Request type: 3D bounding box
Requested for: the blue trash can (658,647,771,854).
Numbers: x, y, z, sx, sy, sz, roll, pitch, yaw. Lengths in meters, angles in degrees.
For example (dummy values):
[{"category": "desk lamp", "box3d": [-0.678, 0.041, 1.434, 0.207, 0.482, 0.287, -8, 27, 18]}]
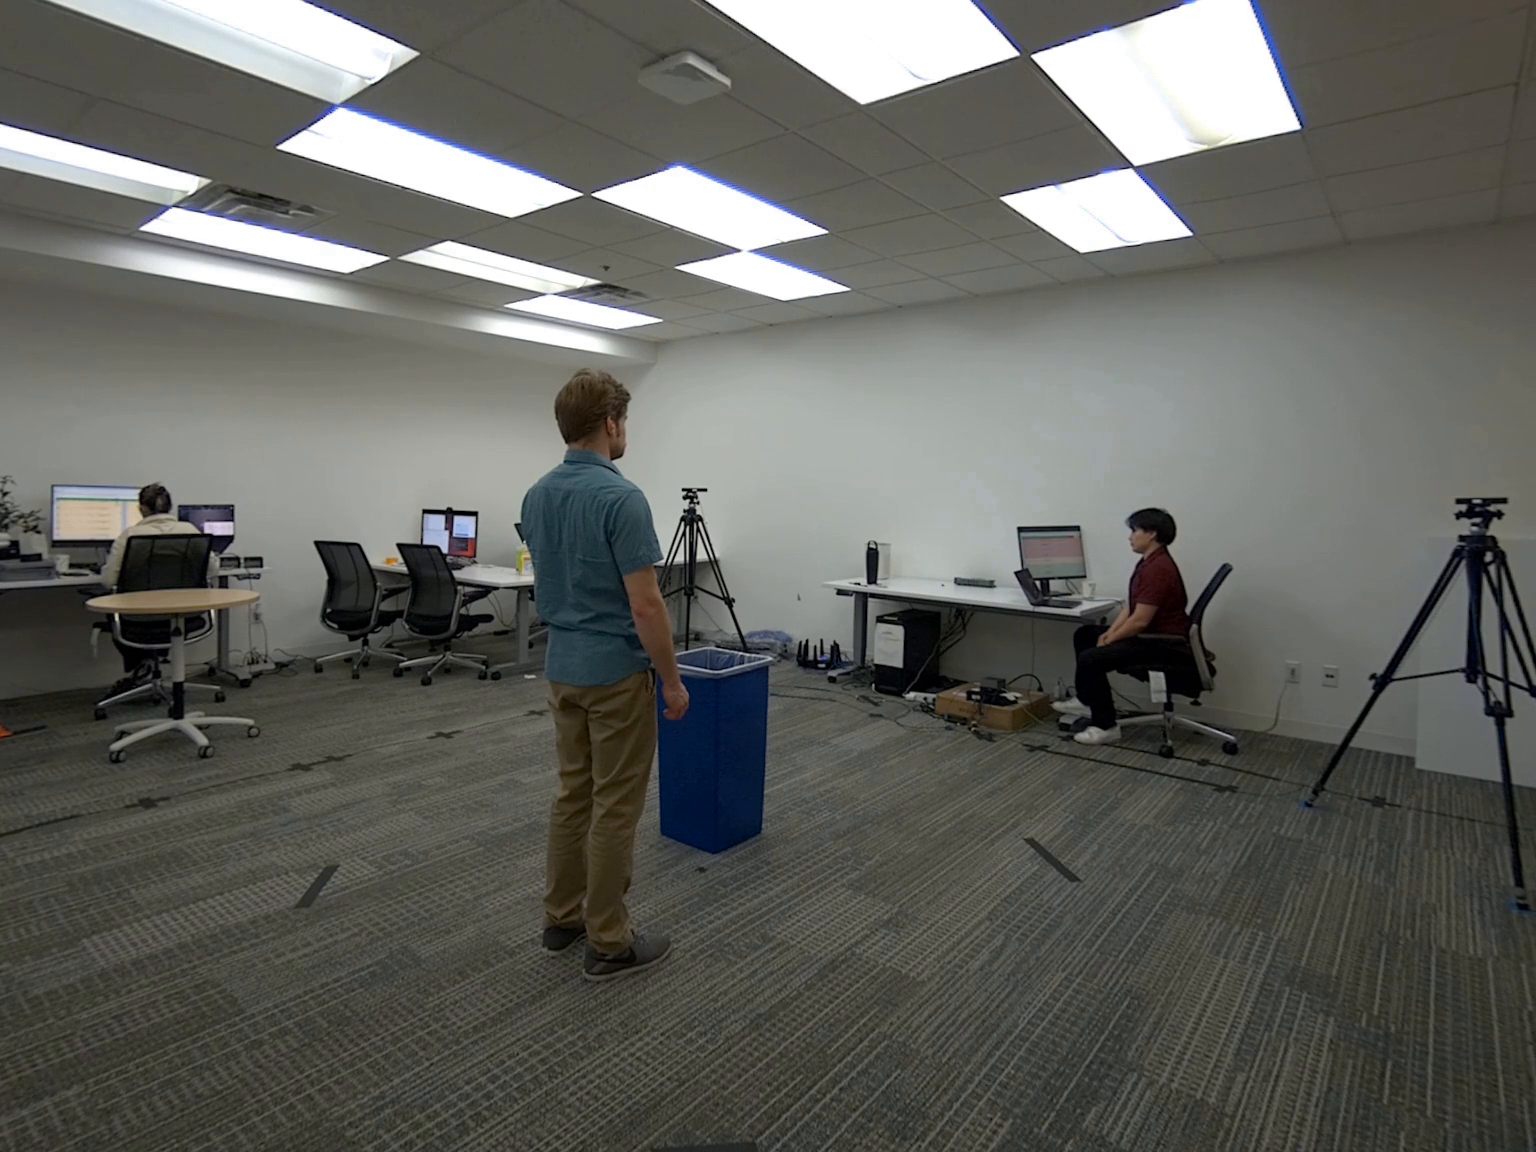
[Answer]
[{"category": "blue trash can", "box3d": [-0.228, 0.683, 3.425, 0.386, 0.712, 0.367, 2, 3, 38]}]
